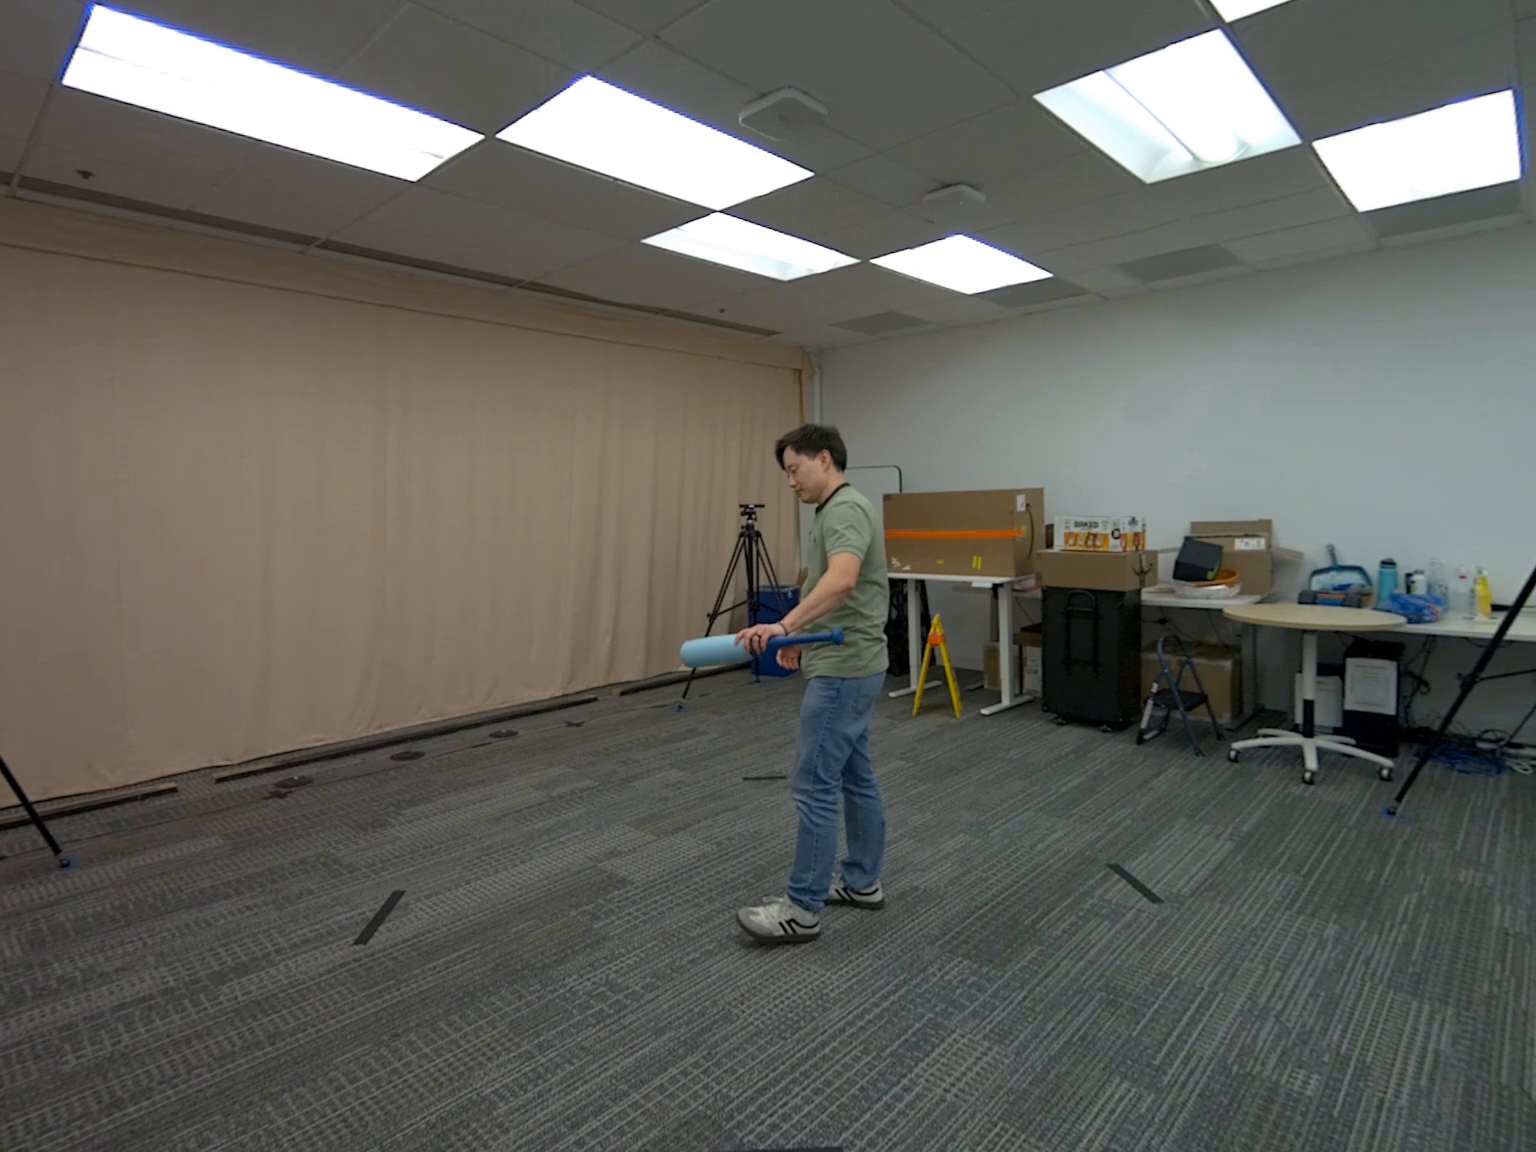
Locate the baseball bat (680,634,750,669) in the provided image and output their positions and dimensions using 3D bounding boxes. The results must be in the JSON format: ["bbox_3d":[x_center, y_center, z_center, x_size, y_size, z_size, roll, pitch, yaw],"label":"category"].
[{"bbox_3d":[-0.028,0.209,2.478,0.557,0.089,0.086,-9,-1,33],"label":"baseball bat"}]
